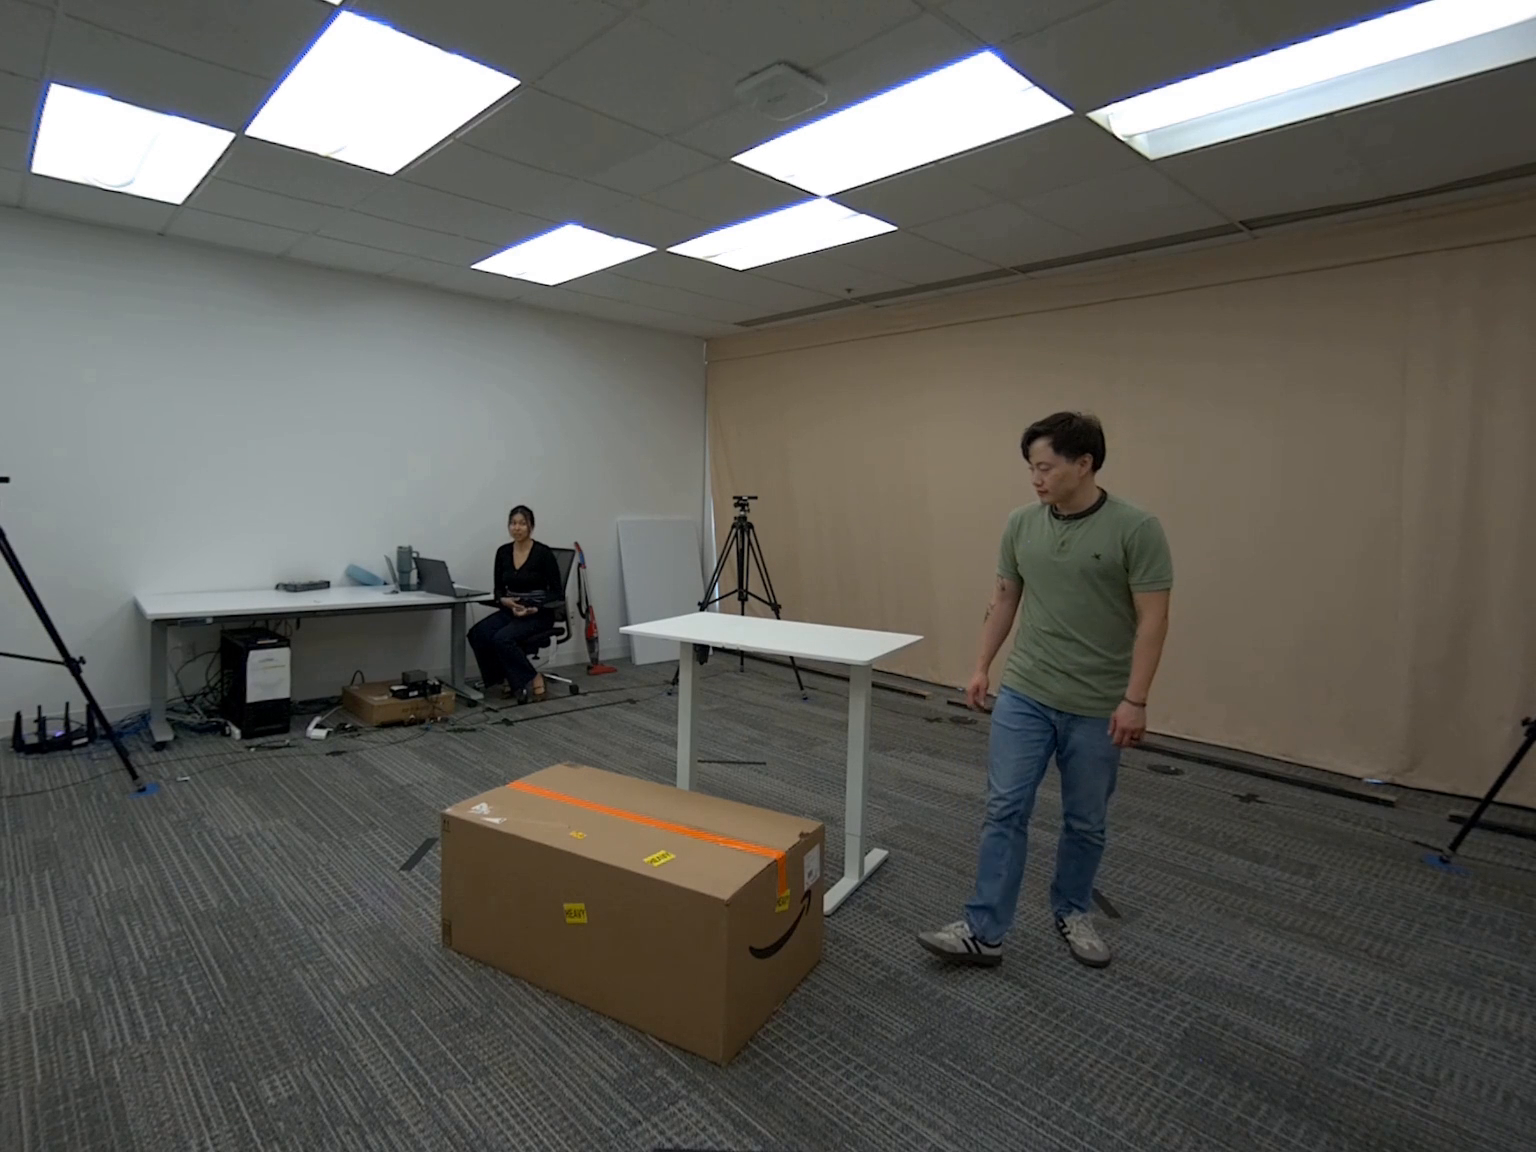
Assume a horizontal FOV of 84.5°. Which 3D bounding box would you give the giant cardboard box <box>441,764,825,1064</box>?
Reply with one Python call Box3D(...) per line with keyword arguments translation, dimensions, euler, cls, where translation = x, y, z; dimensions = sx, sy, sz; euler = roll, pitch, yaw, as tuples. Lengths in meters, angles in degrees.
Box3D(translation=(-0.417, 0.933, 2.544), dimensions=(1.049, 0.425, 0.567), euler=(5, 6, 30), cls="giant cardboard box")
